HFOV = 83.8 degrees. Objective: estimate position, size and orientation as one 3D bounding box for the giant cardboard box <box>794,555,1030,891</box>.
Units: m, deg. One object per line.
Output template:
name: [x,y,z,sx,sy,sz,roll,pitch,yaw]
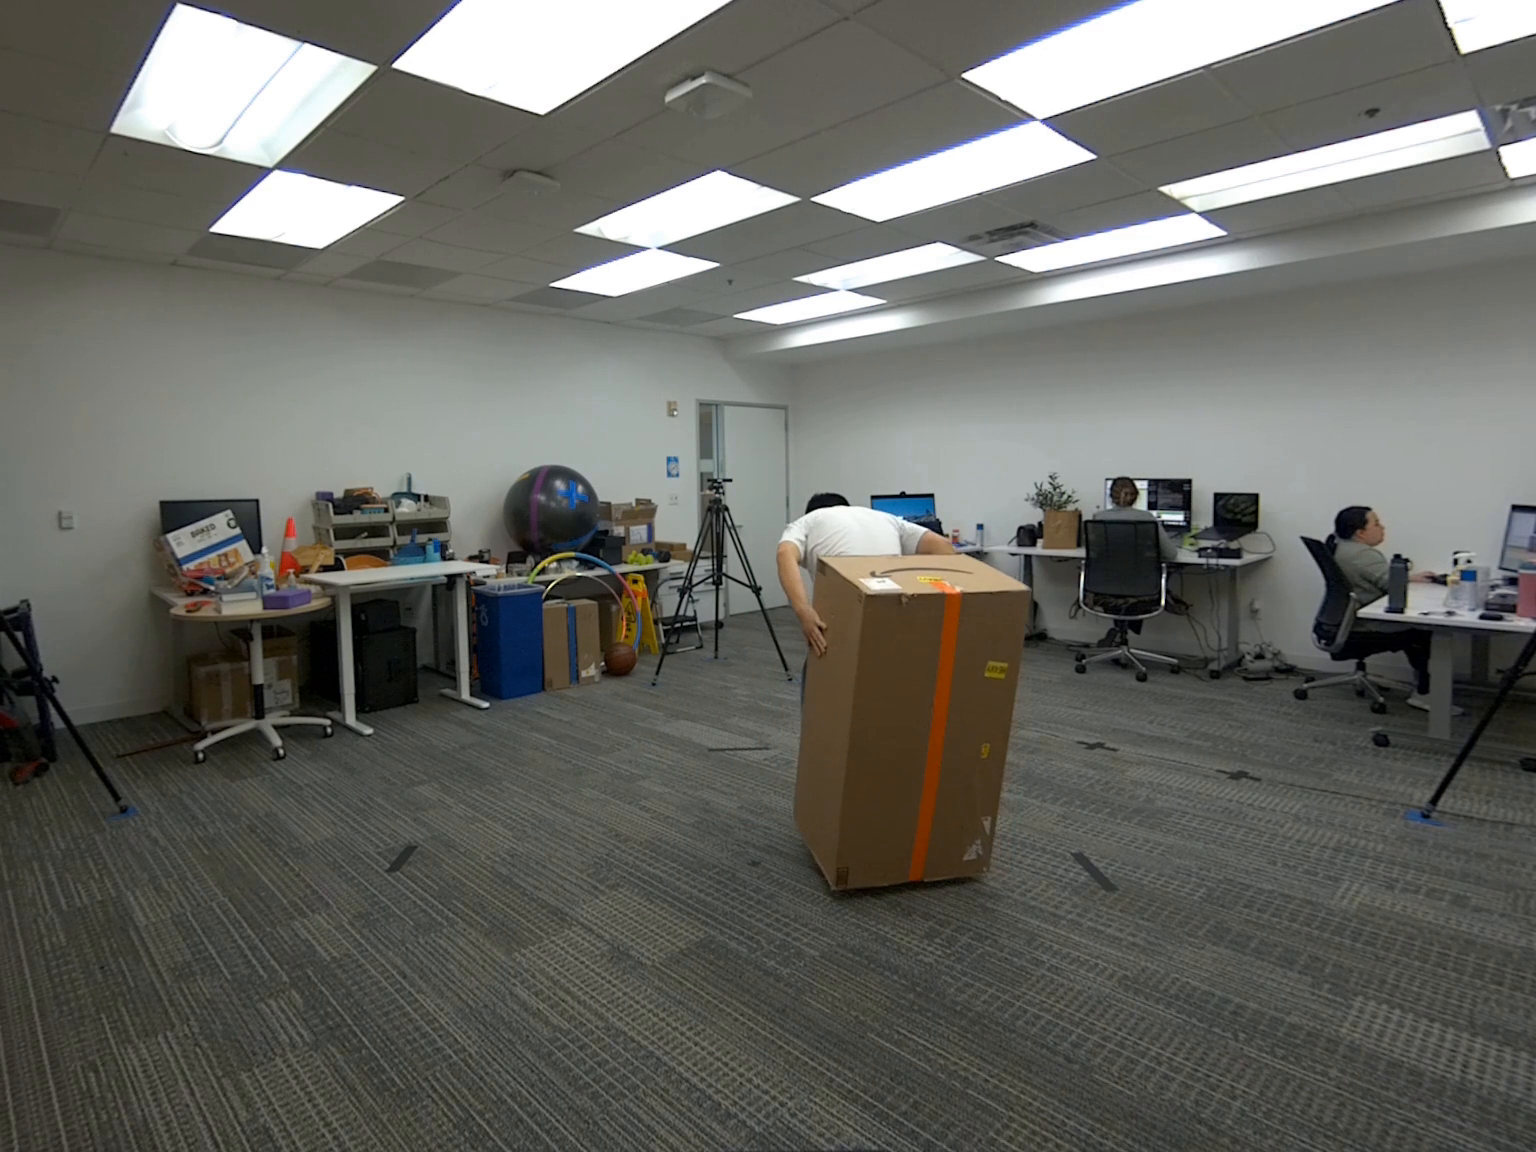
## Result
giant cardboard box: [0.474,0.482,2.921,0.569,1.014,0.437,0,14,-16]
